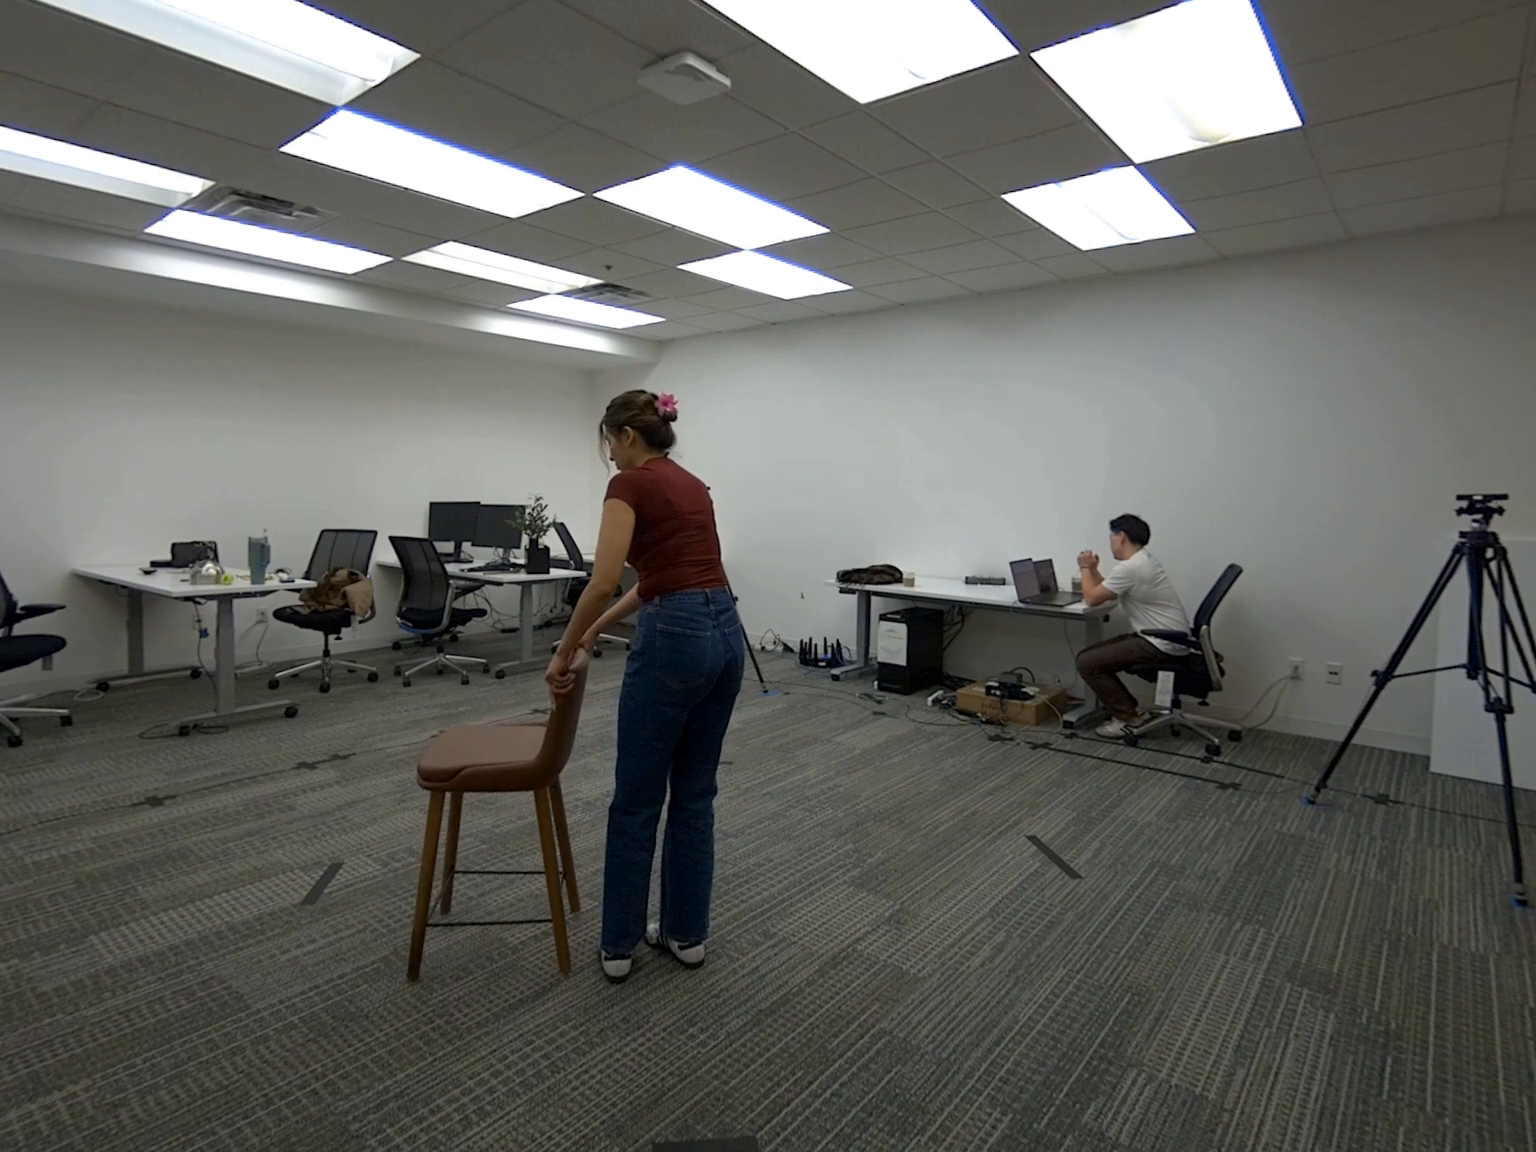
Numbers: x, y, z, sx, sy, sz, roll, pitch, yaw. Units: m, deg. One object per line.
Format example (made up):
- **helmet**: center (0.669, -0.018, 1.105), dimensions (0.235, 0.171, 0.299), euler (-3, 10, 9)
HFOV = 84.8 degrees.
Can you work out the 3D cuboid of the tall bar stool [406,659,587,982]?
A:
- **tall bar stool**: center (-0.811, 0.676, 2.573), dimensions (0.465, 0.887, 0.461), euler (2, 4, -6)
